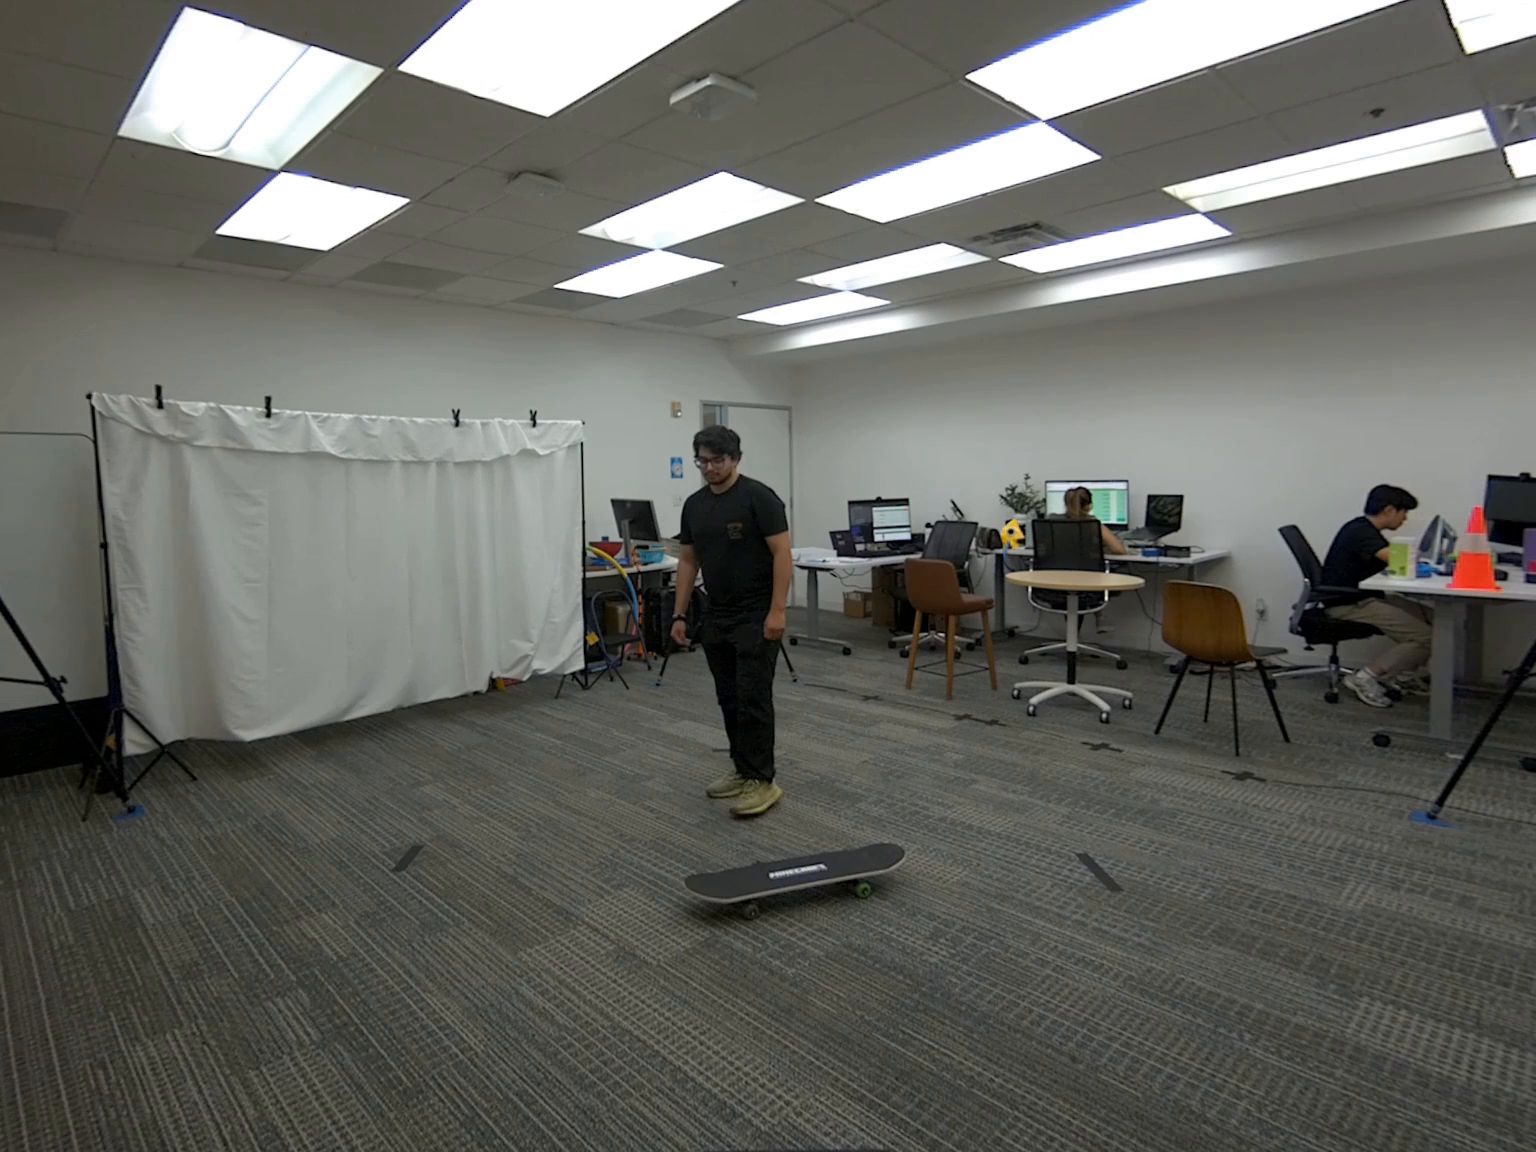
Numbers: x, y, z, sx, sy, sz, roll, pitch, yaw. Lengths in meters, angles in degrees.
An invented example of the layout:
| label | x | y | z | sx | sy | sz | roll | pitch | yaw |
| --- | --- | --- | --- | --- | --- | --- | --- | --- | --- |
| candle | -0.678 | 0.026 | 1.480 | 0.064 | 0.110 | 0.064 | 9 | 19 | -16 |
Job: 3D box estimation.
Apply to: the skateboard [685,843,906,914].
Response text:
| label | x | y | z | sx | sy | sz | roll | pitch | yaw |
| --- | --- | --- | --- | --- | --- | --- | --- | --- | --- |
| skateboard | 0.101 | 1.019 | 2.856 | 0.773 | 0.110 | 0.197 | -4 | 6 | -18 |
